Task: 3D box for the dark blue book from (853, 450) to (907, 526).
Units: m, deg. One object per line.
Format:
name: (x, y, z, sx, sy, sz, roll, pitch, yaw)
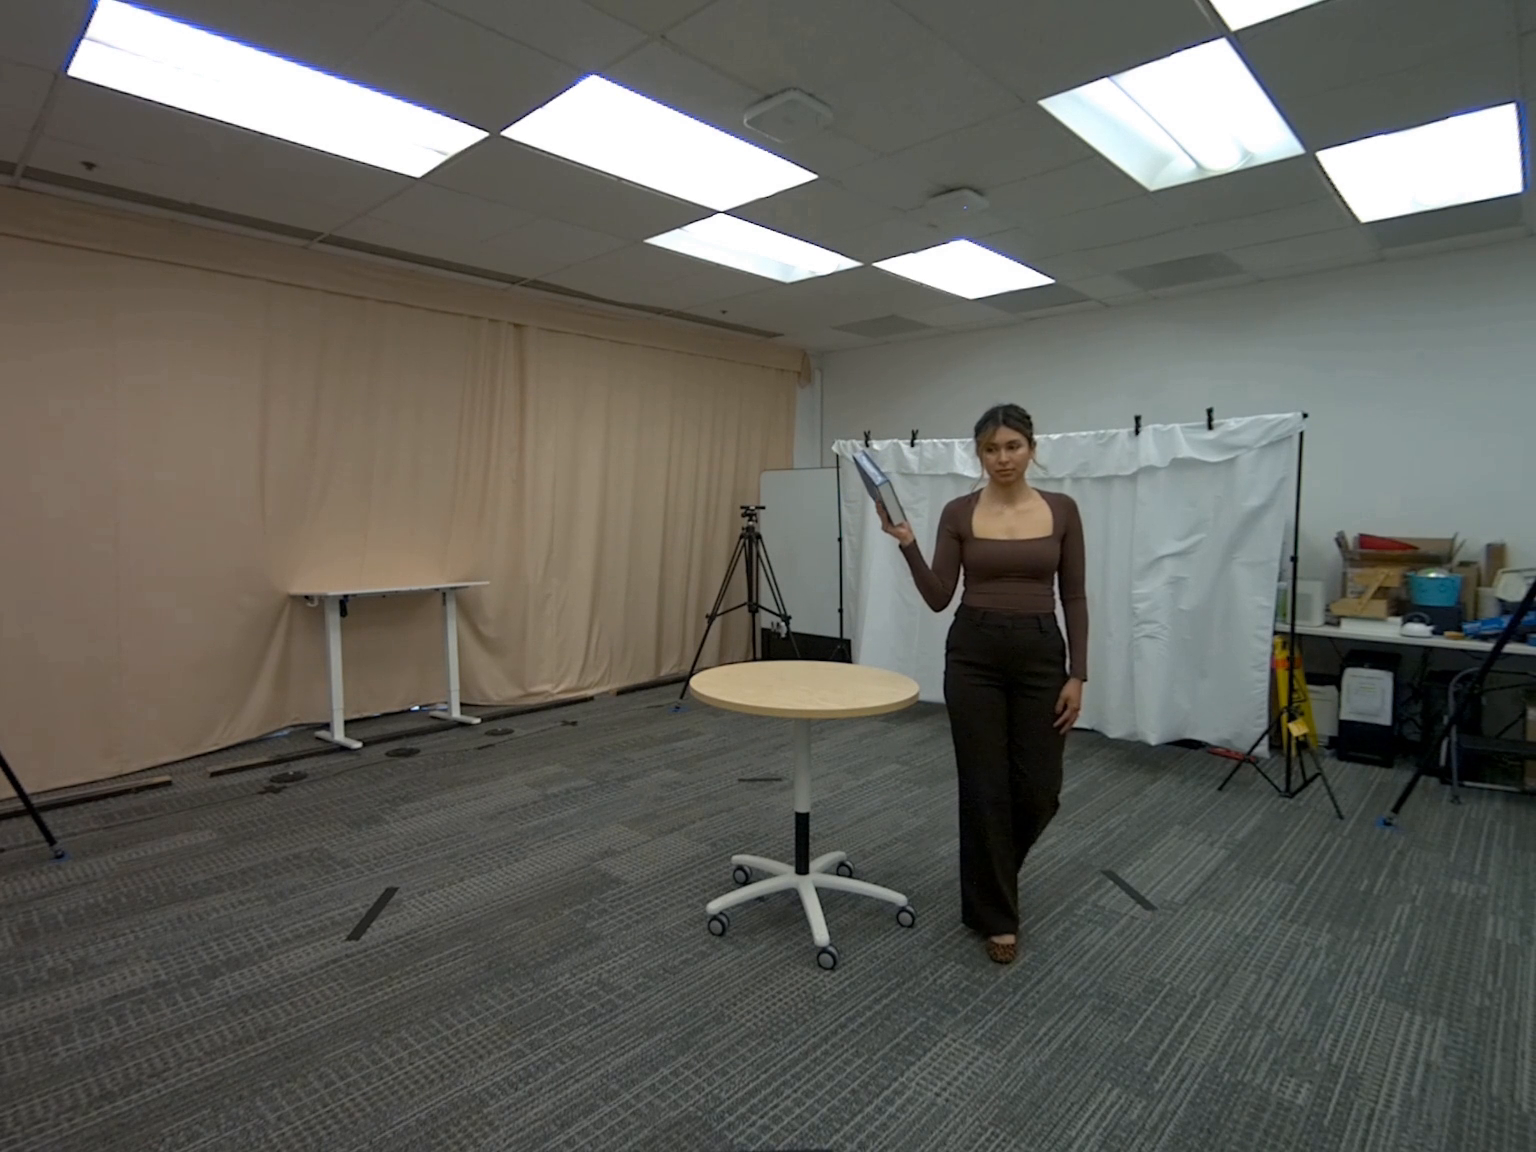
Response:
dark blue book: (0.353, -0.277, 2.622, 0.045, 0.159, 0.251, -26, 31, 3)
